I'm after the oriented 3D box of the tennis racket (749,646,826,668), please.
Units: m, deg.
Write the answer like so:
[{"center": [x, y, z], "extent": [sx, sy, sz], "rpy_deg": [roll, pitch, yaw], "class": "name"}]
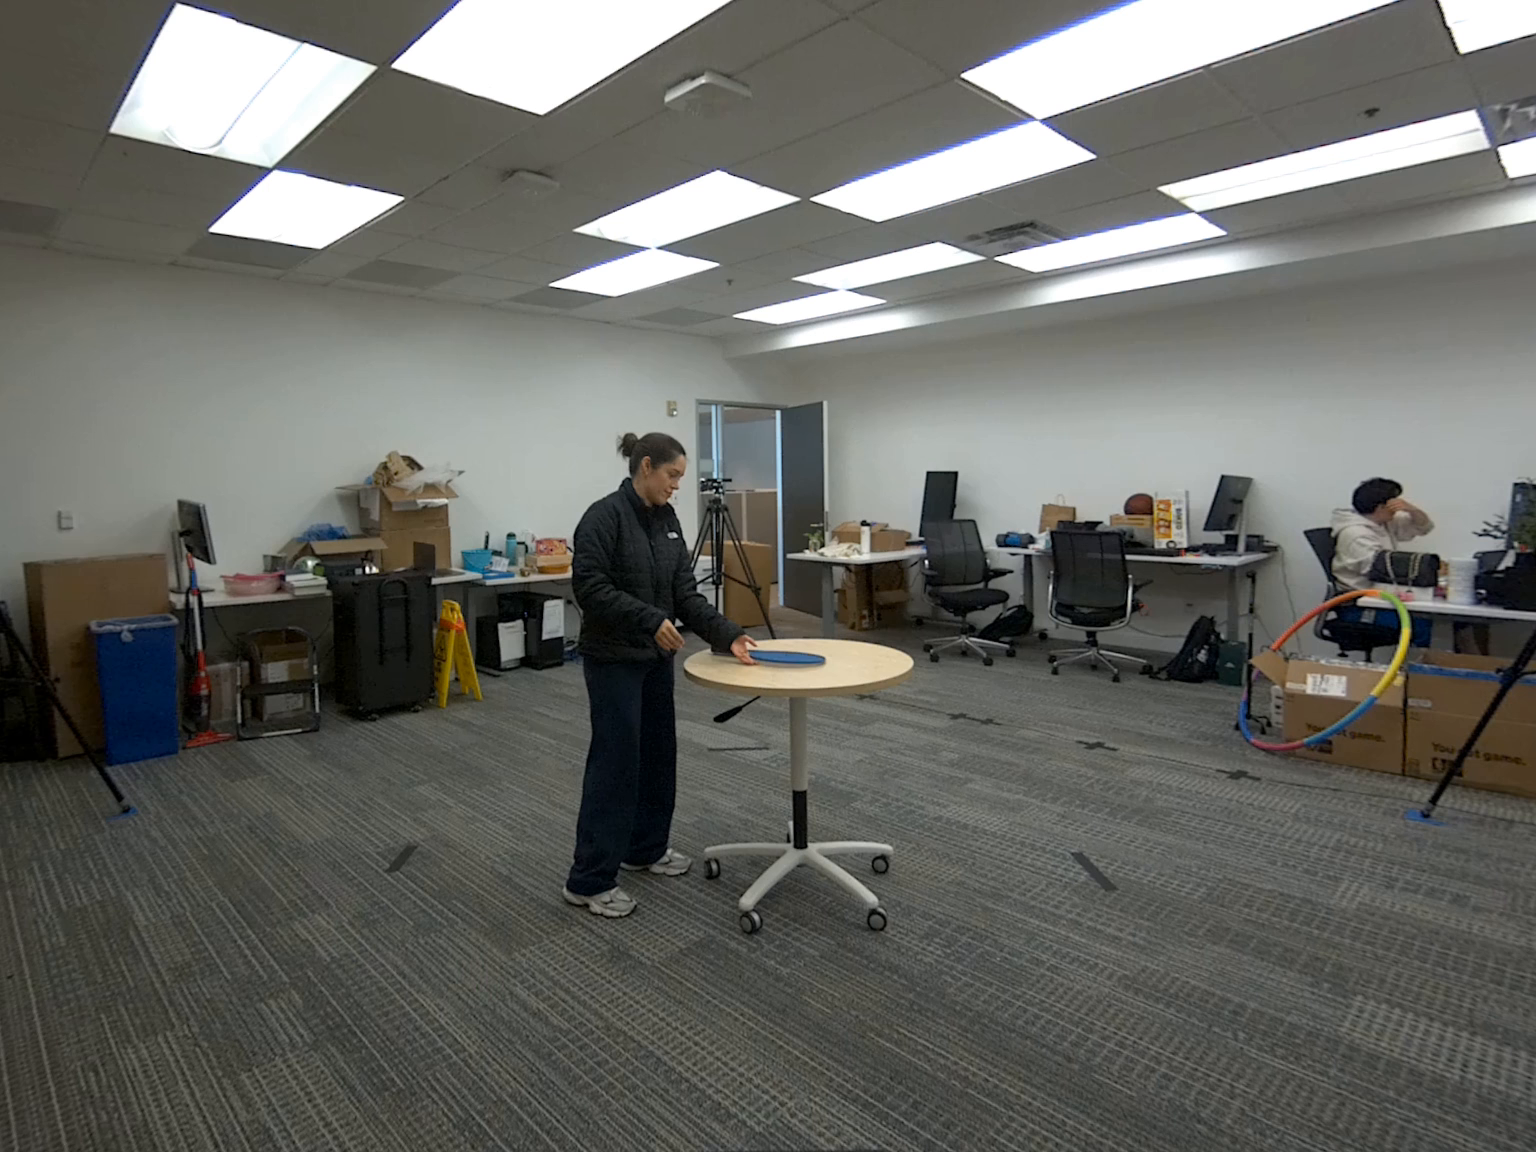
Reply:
[{"center": [-0.005, 0.268, 2.909], "extent": [0.445, 0.032, 0.208], "rpy_deg": [3, 3, 33], "class": "tennis racket"}]
